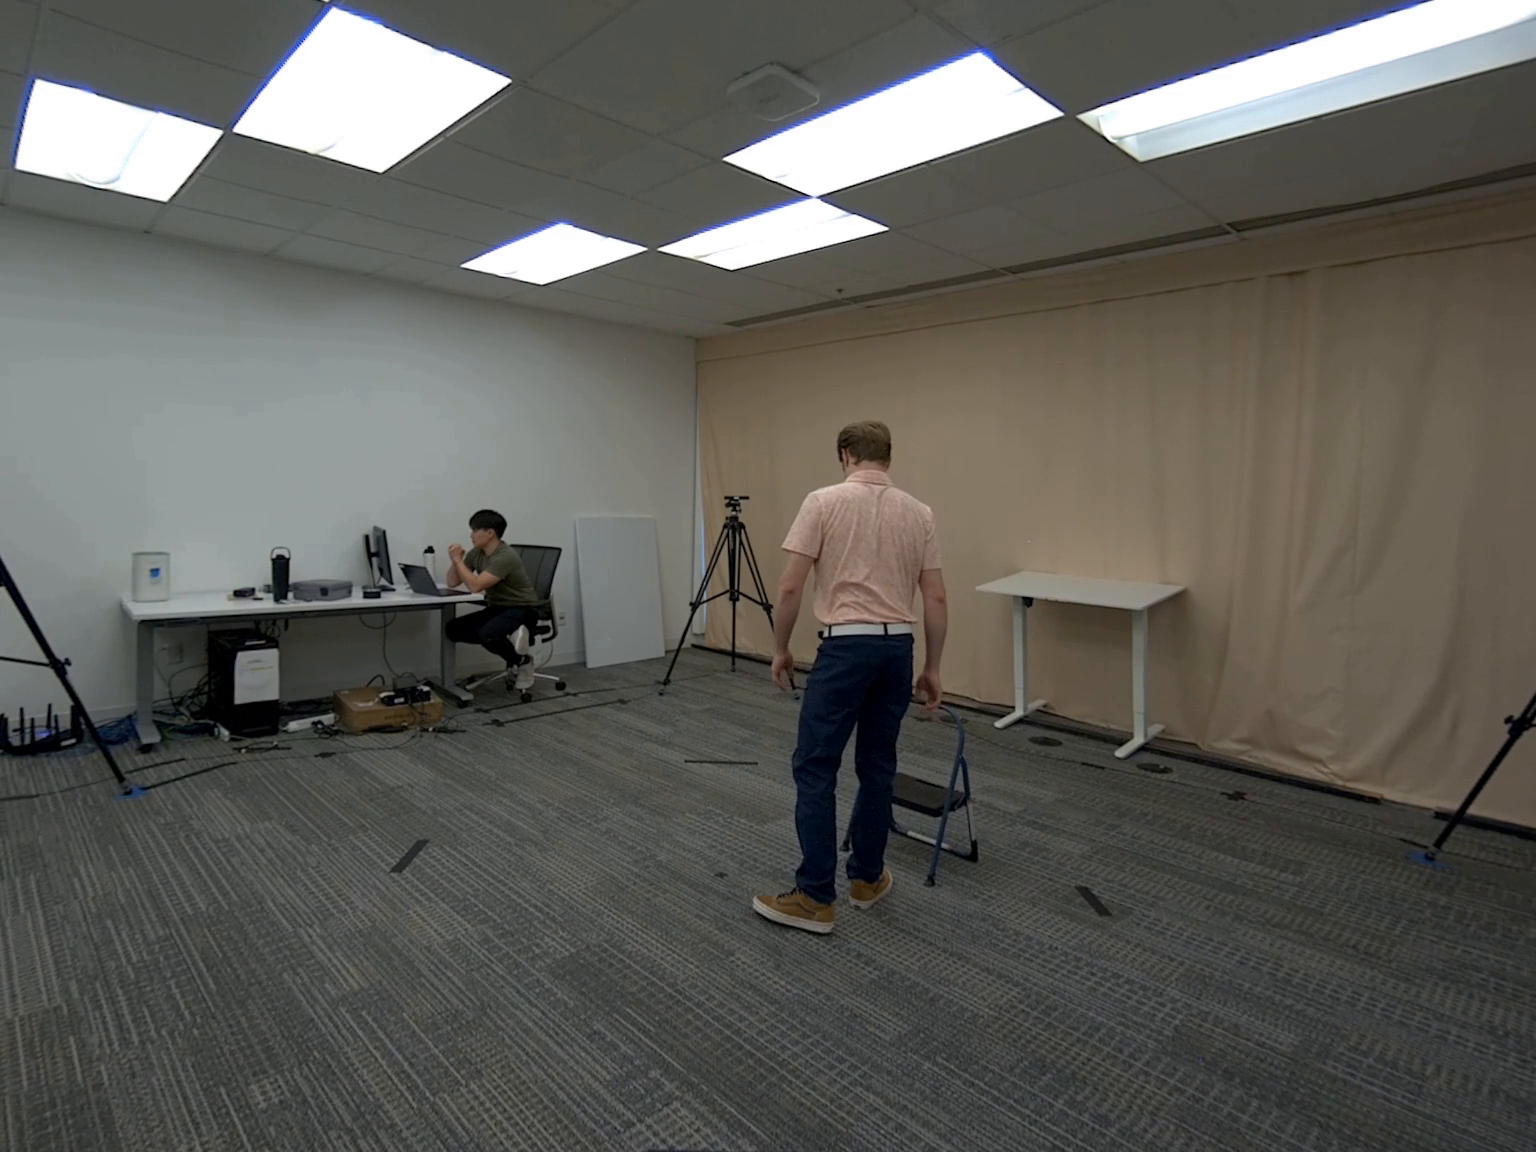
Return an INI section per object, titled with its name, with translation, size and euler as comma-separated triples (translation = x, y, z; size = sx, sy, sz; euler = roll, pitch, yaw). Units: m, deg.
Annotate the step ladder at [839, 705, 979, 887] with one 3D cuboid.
[step ladder]
translation = 0.562, 0.802, 3.307
size = 0.341, 0.604, 0.442
euler = -1, 5, -45
